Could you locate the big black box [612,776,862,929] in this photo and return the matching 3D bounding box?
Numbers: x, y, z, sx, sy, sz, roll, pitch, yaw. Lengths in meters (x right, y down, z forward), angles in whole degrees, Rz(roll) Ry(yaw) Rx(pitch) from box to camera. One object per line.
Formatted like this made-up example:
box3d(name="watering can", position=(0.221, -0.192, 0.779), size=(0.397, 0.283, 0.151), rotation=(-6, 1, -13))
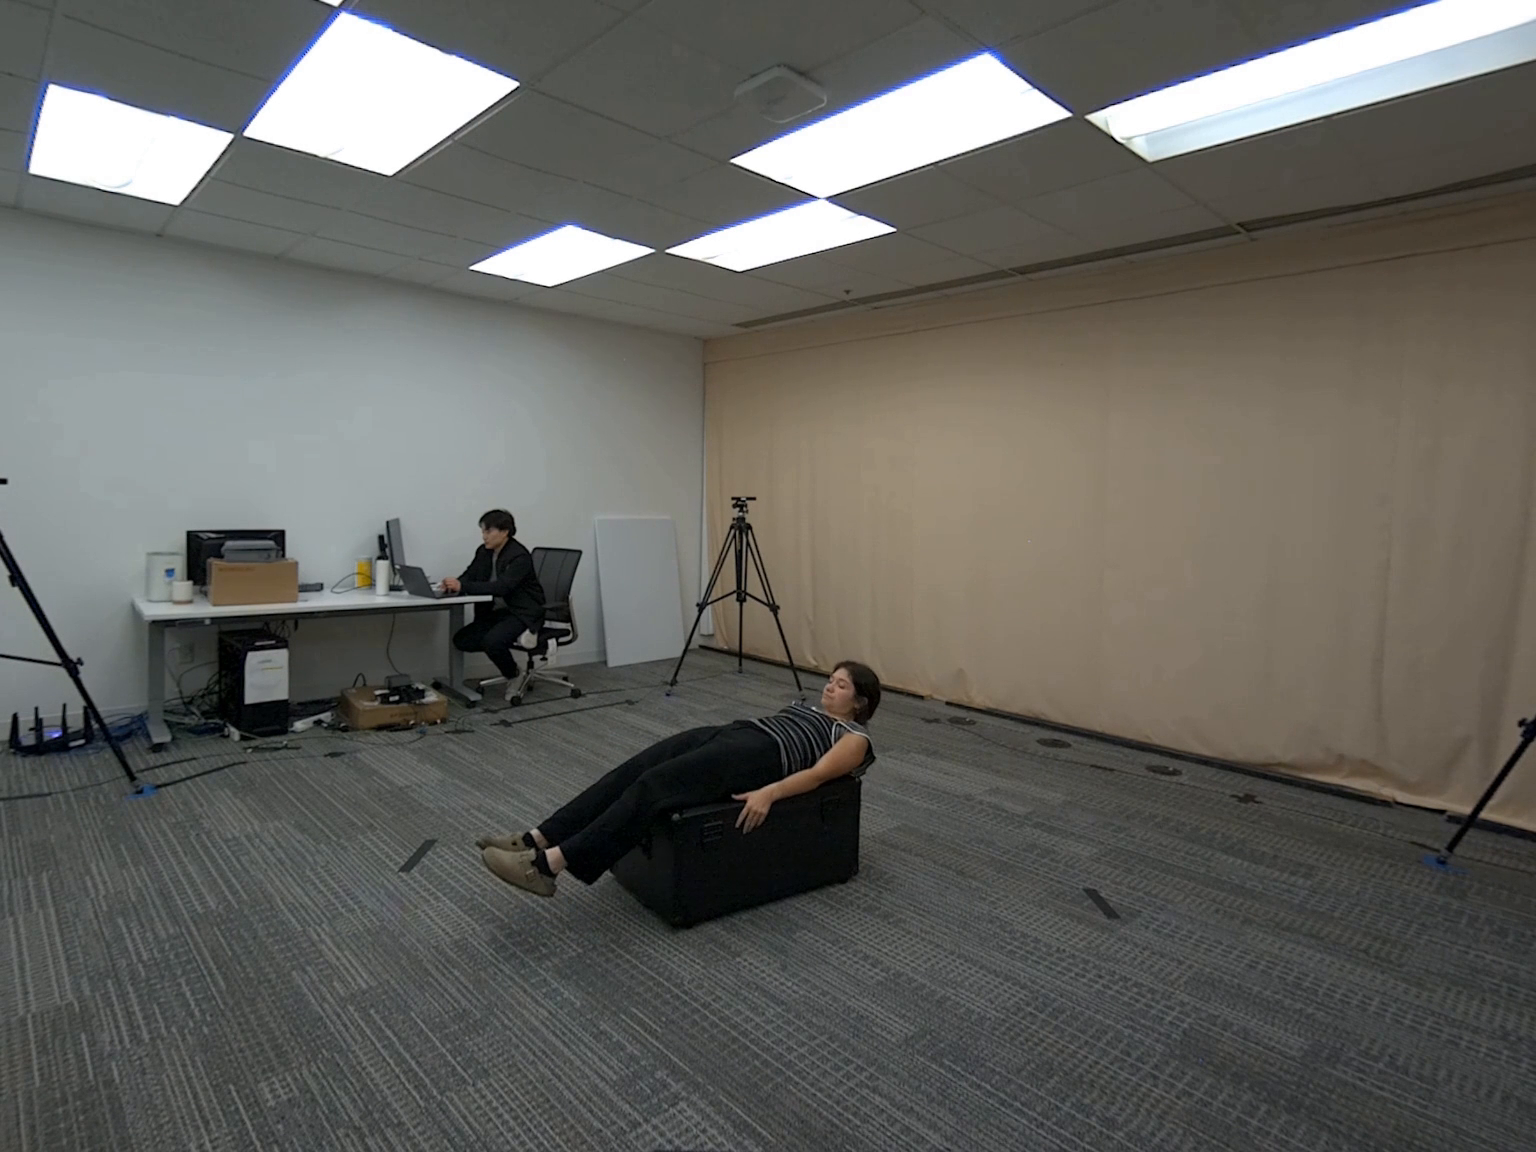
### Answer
box3d(name="big black box", position=(-0.095, 0.928, 3.091), size=(0.843, 0.395, 0.533), rotation=(-3, 5, -34))
